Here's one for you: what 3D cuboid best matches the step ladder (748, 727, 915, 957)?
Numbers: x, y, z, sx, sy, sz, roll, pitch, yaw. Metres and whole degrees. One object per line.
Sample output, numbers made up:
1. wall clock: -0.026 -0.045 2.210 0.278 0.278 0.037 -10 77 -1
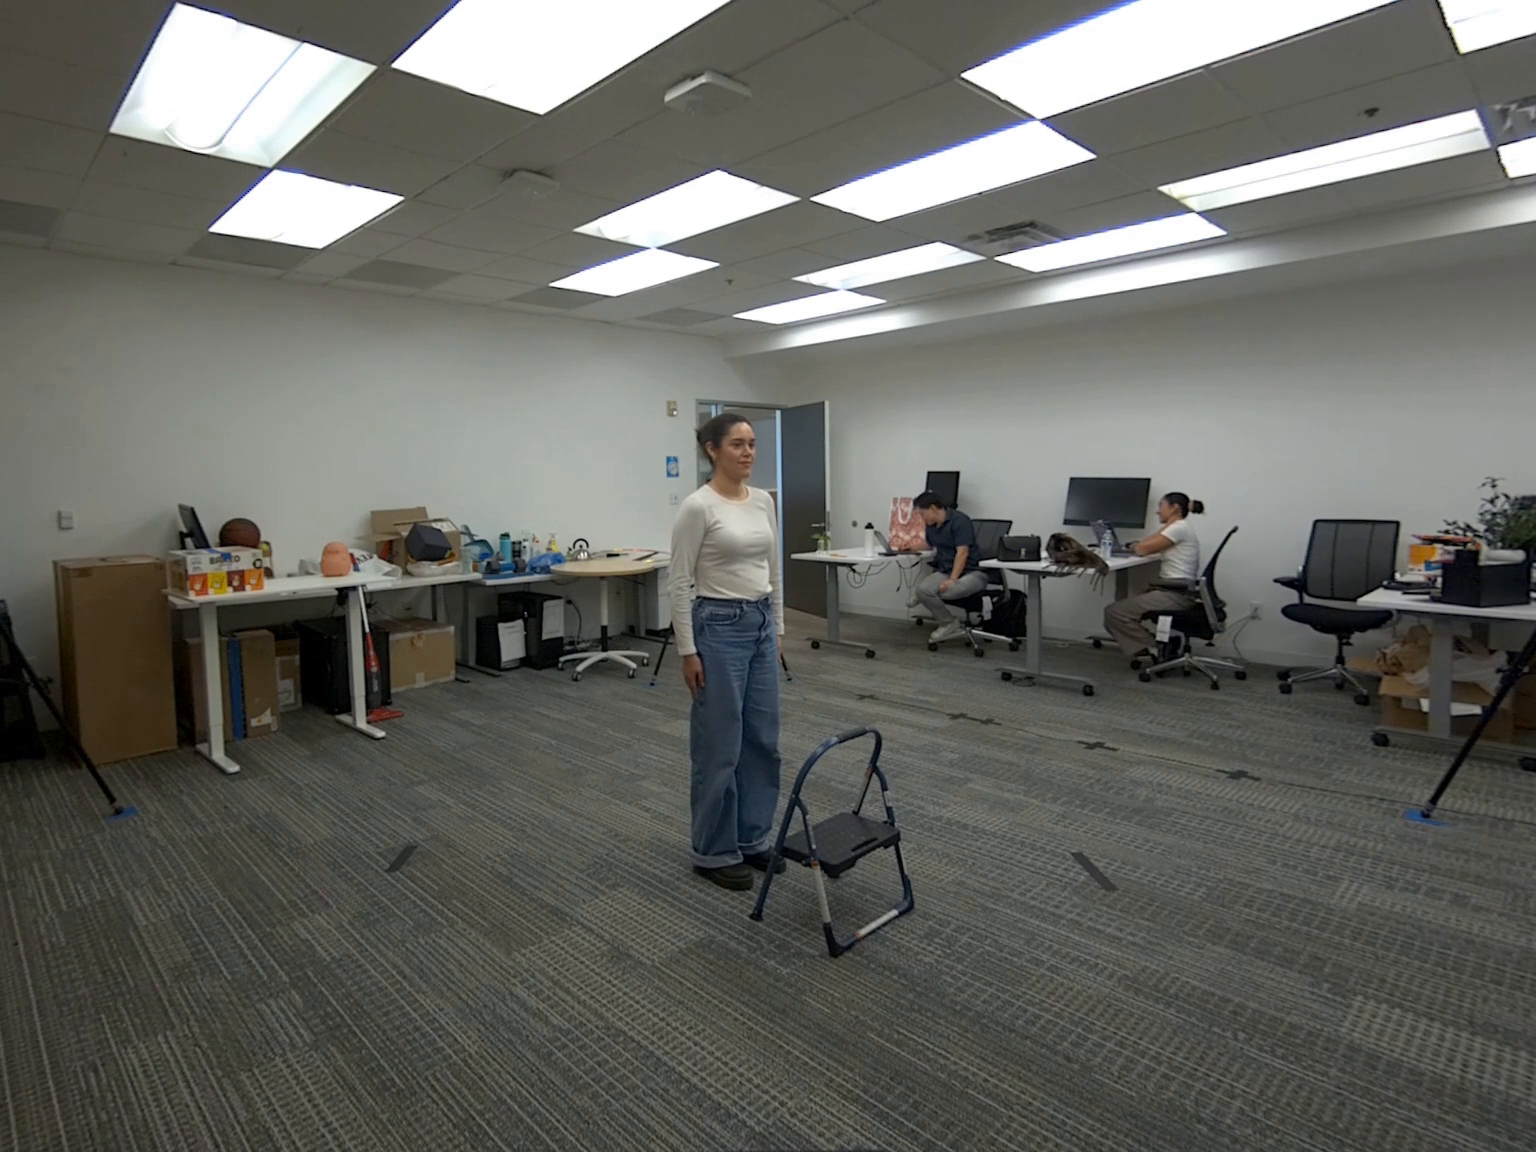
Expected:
1. step ladder: 0.204 0.779 2.729 0.360 0.604 0.419 2 6 44
